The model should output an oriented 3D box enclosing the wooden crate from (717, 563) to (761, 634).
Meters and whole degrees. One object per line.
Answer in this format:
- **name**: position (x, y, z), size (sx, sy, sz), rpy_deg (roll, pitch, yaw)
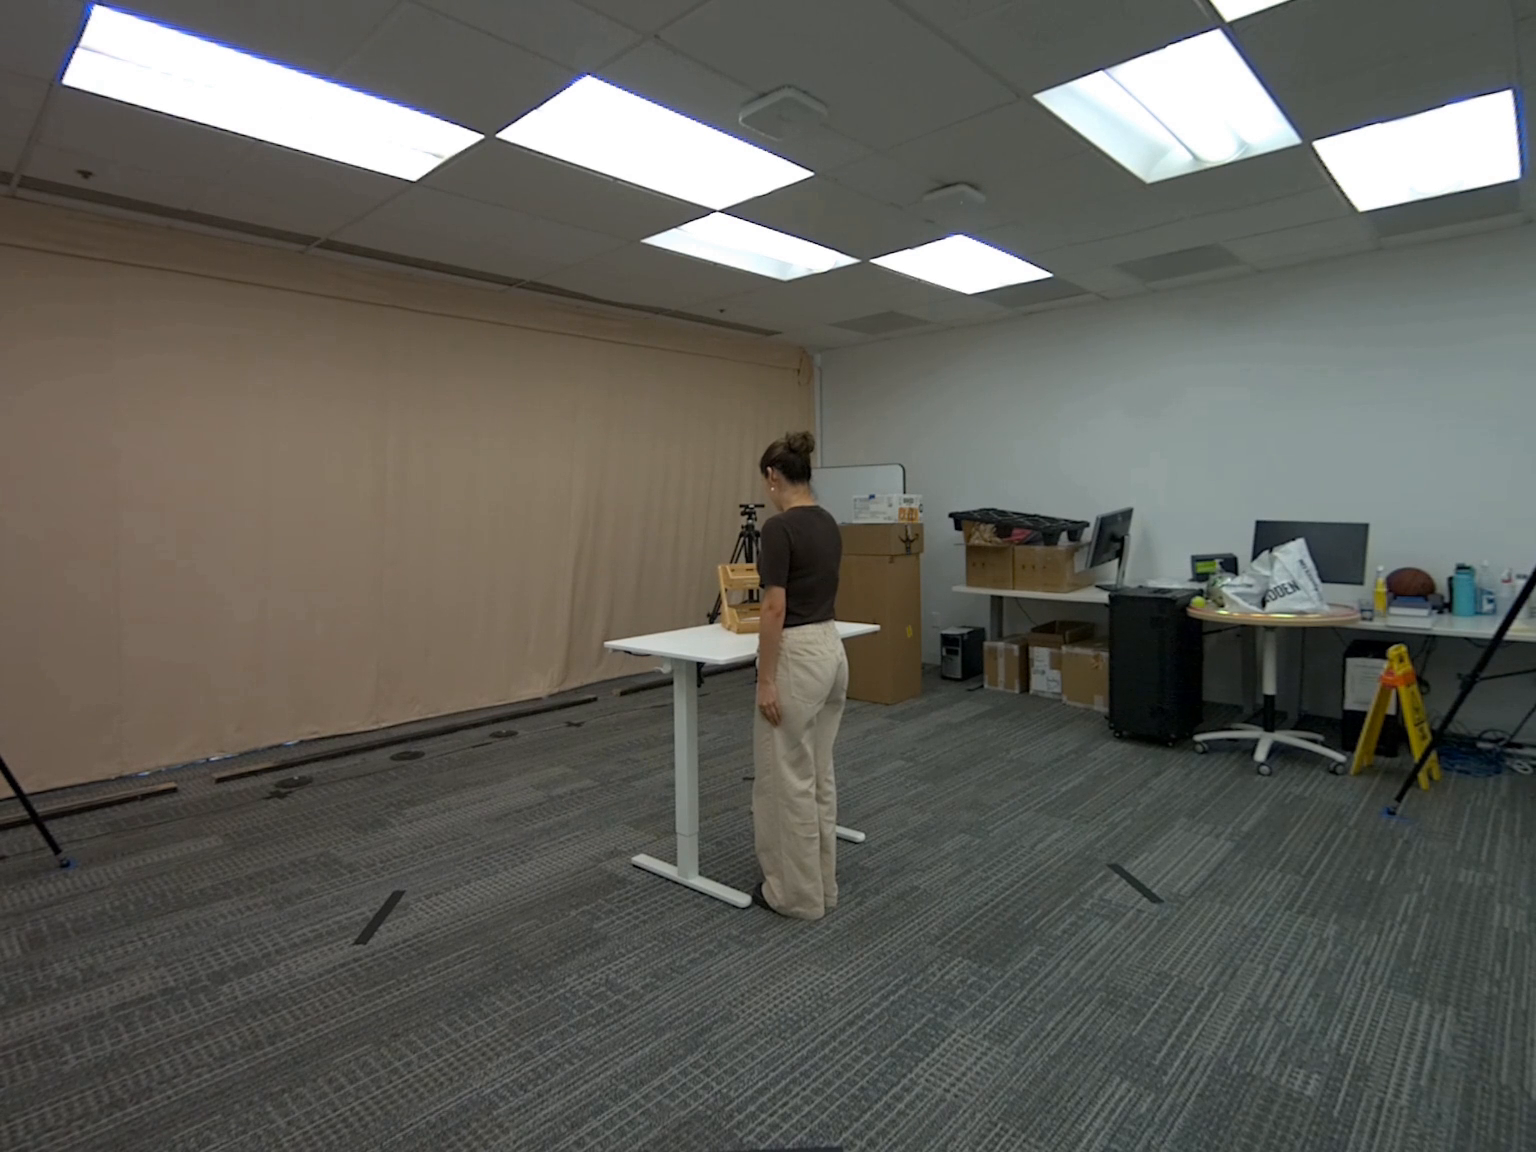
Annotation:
- **wooden crate**: position (-0.024, 0.086, 3.496), size (0.319, 0.273, 0.307), rpy_deg (0, 2, -16)
